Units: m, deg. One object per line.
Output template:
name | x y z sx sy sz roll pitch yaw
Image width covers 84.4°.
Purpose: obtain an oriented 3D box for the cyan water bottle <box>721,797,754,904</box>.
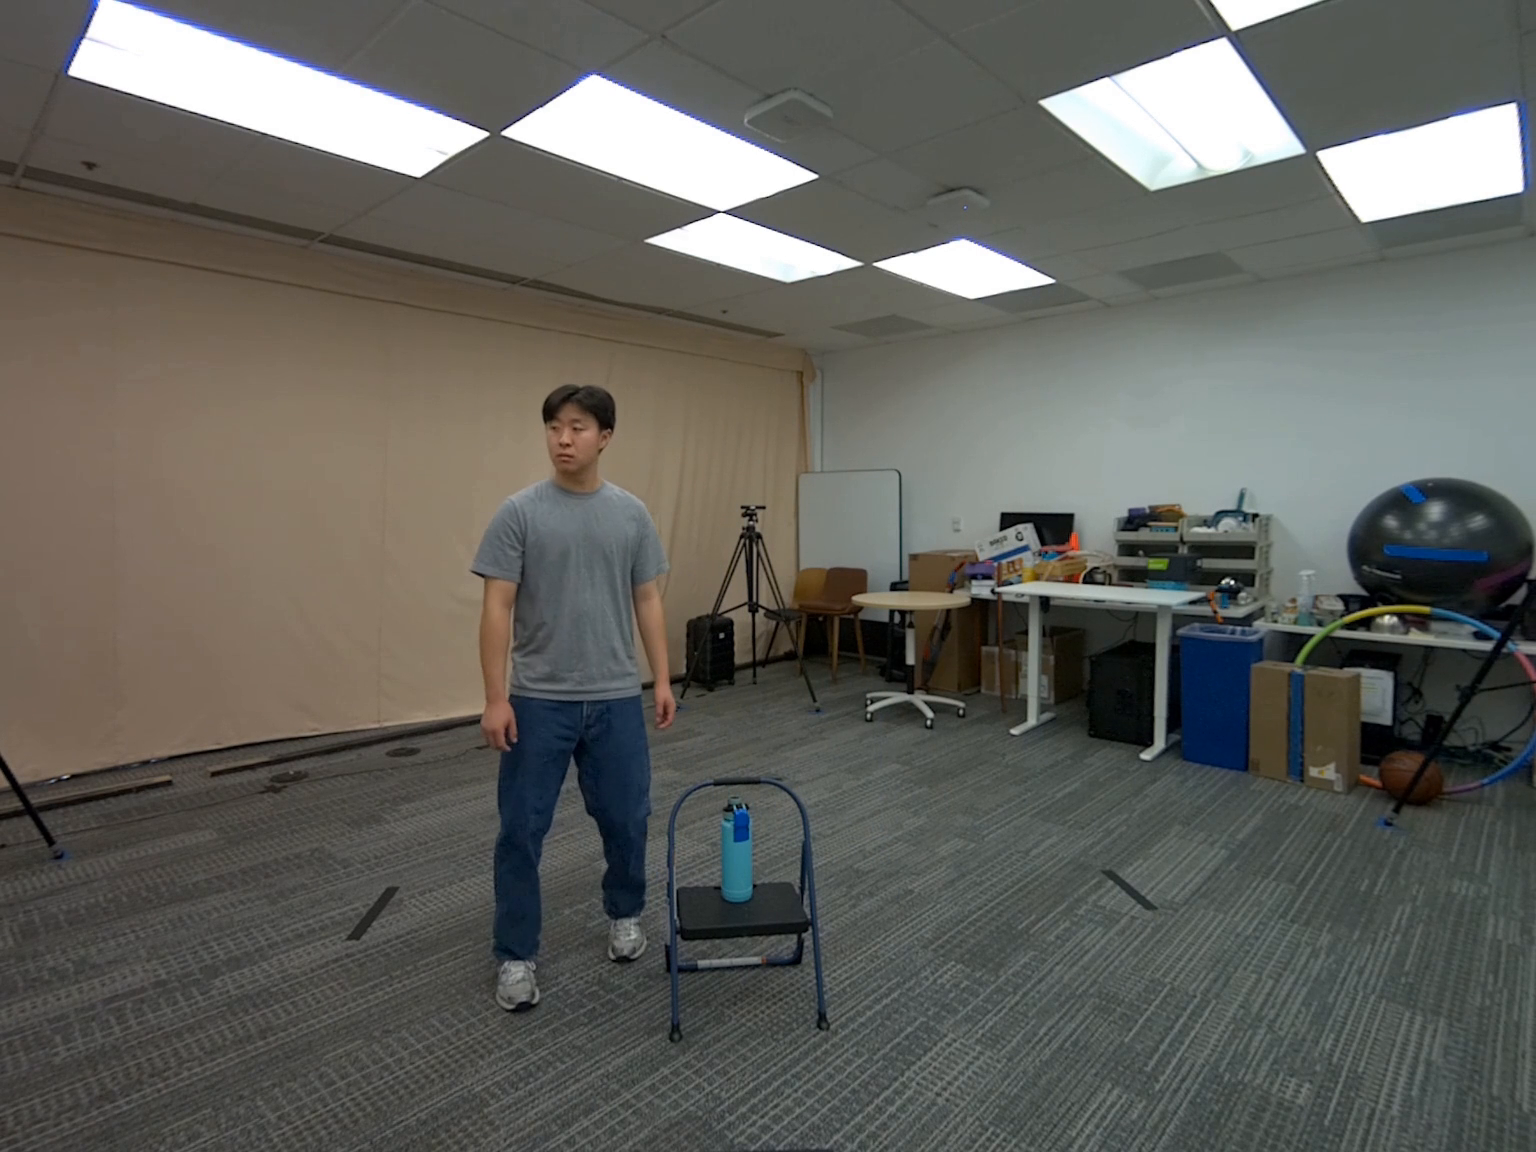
cyan water bottle | -0.093 0.792 2.423 0.092 0.283 0.092 3 3 -2
